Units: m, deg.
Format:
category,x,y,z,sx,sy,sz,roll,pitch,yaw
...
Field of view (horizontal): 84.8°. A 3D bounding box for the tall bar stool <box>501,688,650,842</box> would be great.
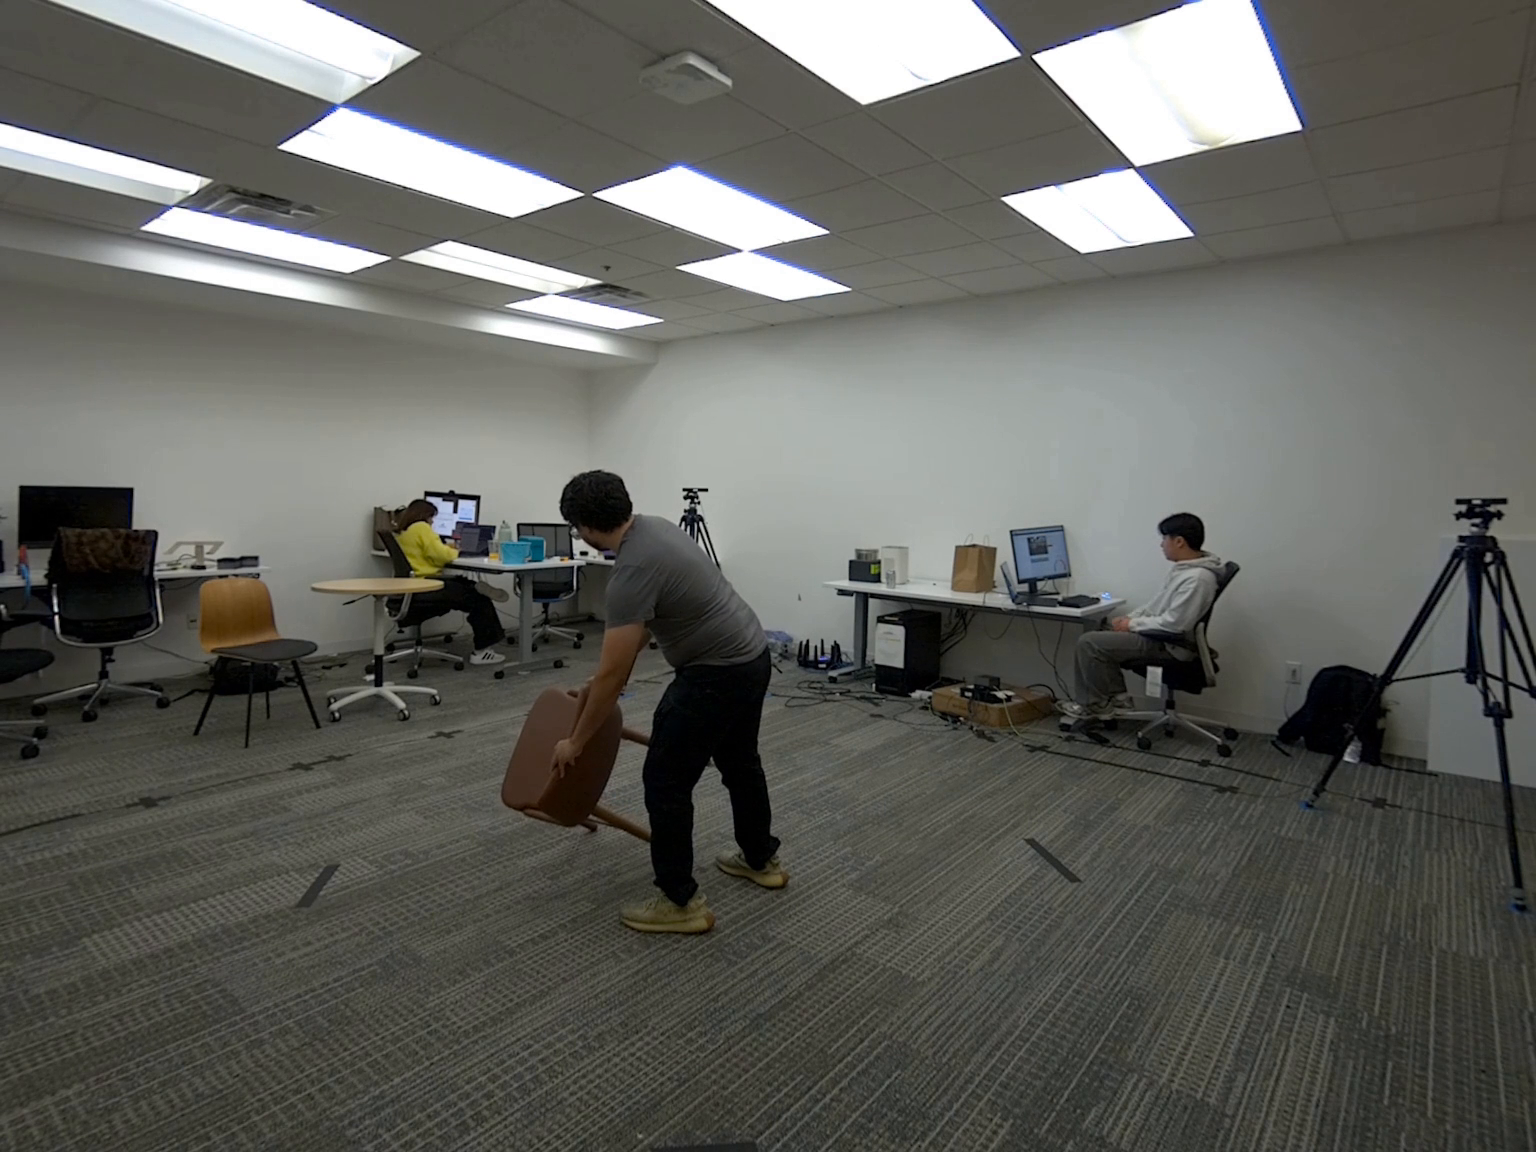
category,x,y,z,sx,sy,sz,roll,pitch,yaw
tall bar stool,-0.653,0.685,3.071,0.482,0.461,0.853,7,-23,30
